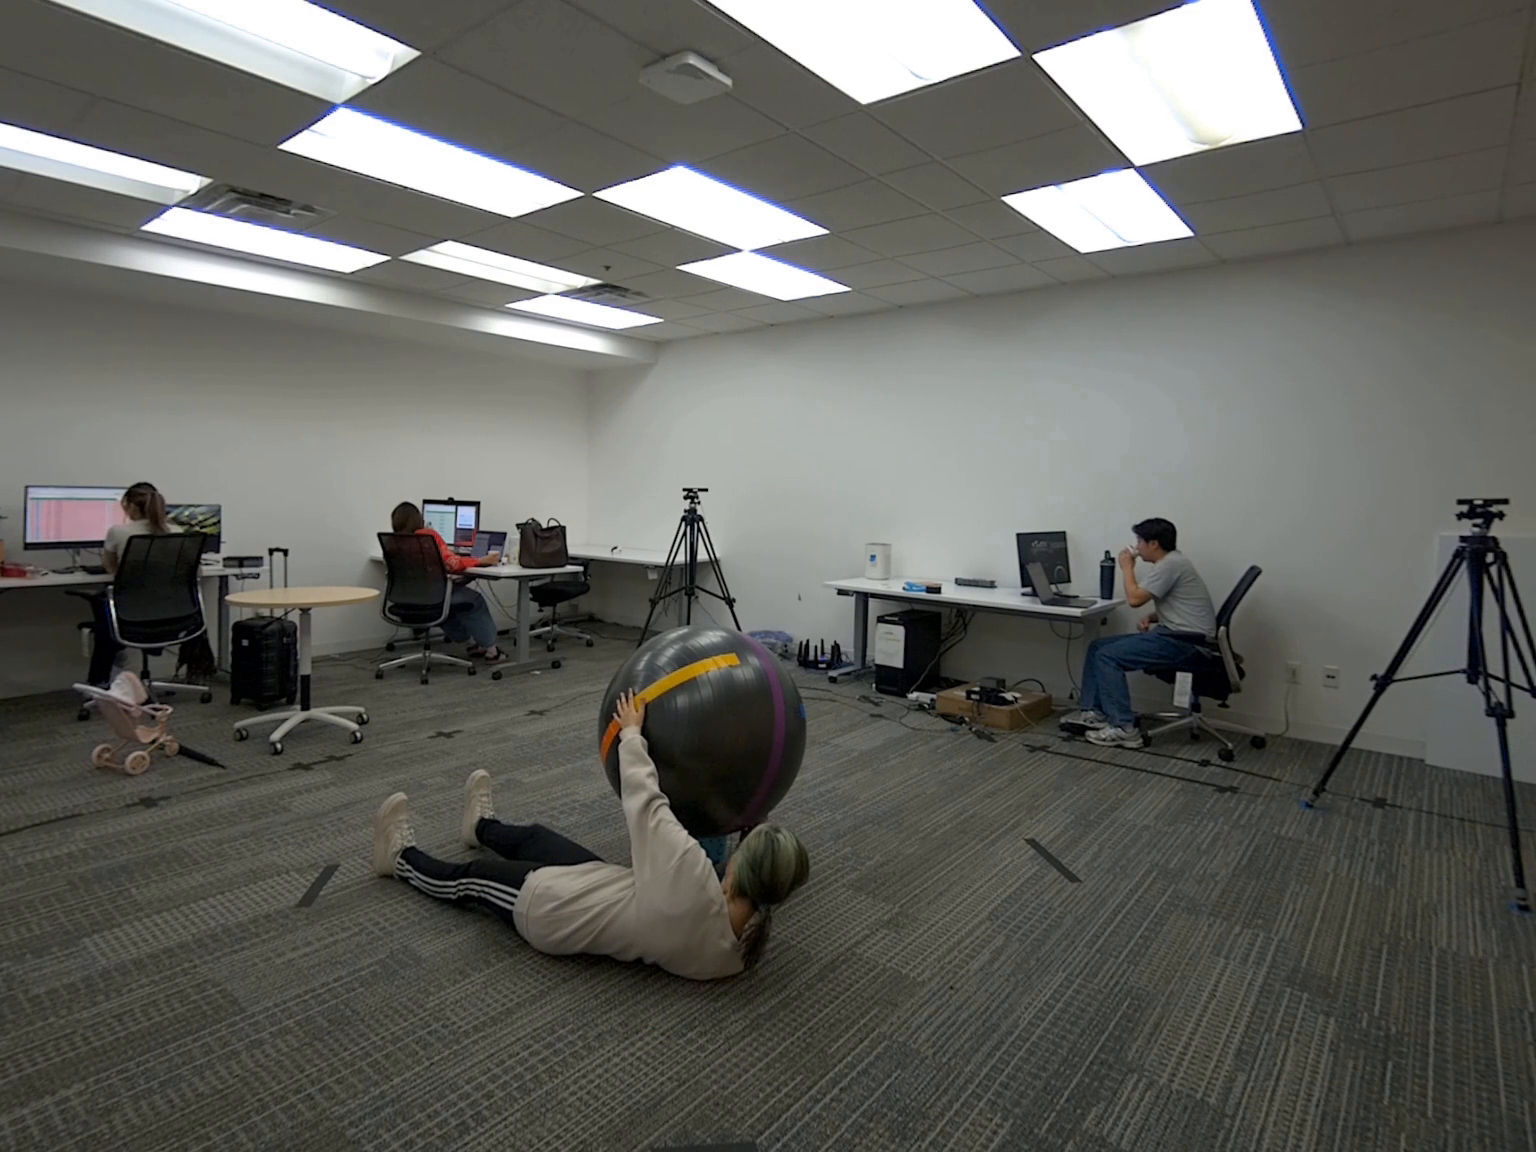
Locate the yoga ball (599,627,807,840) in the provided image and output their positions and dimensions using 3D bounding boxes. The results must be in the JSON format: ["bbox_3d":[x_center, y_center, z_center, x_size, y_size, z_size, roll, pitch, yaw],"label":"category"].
[{"bbox_3d":[-0.251,0.555,3.105,0.757,0.755,0.762,1,4,-2],"label":"yoga ball"}]
